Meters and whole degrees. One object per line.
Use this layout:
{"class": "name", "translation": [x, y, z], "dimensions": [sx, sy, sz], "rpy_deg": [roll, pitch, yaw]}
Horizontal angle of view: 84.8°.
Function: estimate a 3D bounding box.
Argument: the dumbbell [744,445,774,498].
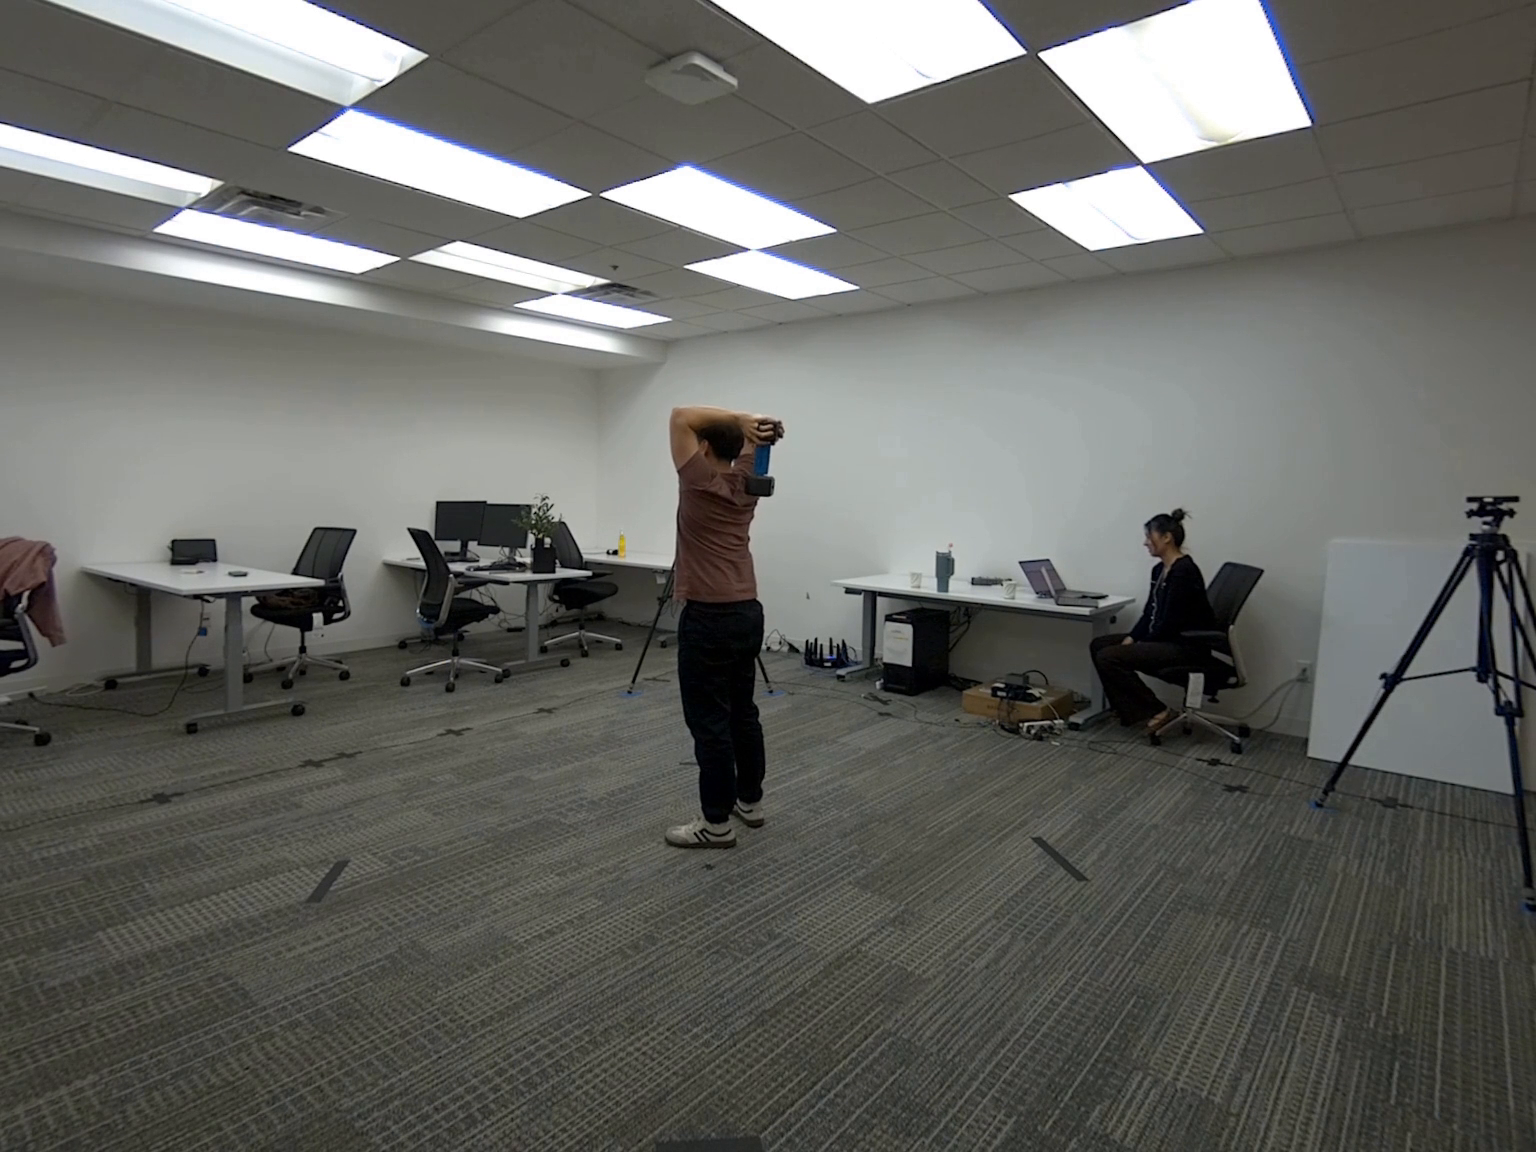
{"class": "dumbbell", "translation": [-0.045, -0.469, 3.294], "dimensions": [0.105, 0.292, 0.127], "rpy_deg": [0, 5, -43]}
